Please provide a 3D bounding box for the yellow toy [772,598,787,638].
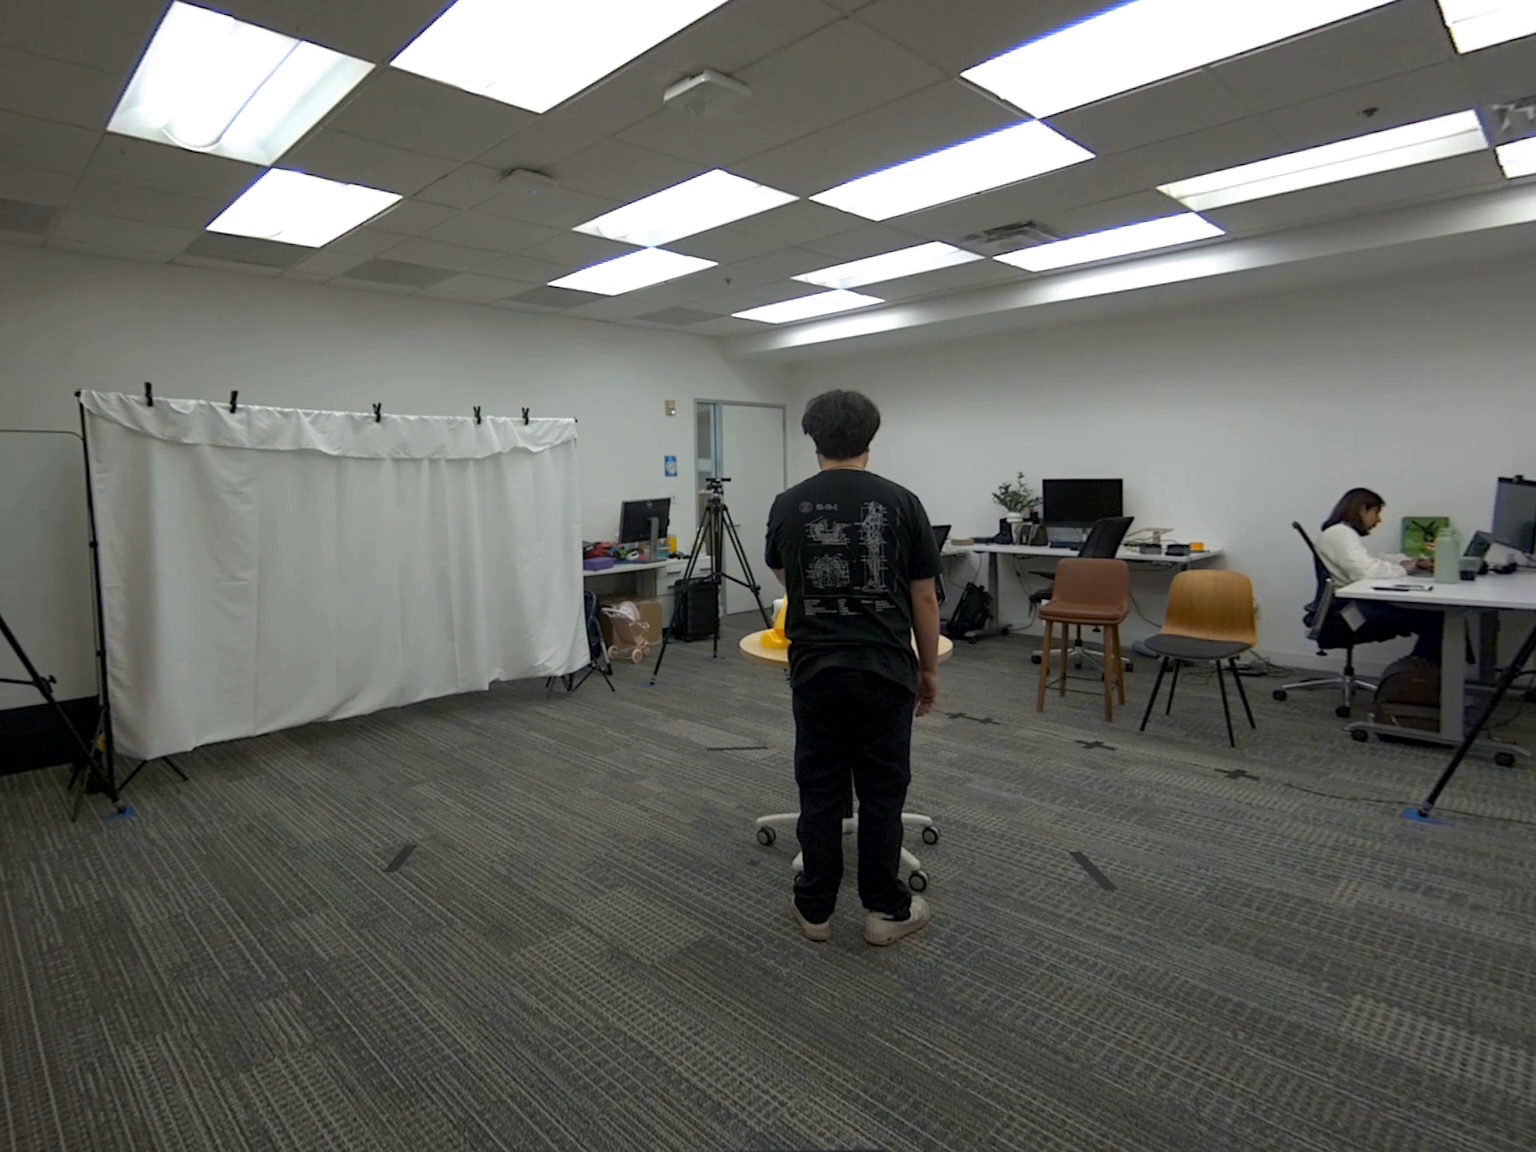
[{"bbox_3d":[0.083,0.136,3.107,0.200,0.230,0.198,-6,5,-35],"label":"yellow toy"}]
